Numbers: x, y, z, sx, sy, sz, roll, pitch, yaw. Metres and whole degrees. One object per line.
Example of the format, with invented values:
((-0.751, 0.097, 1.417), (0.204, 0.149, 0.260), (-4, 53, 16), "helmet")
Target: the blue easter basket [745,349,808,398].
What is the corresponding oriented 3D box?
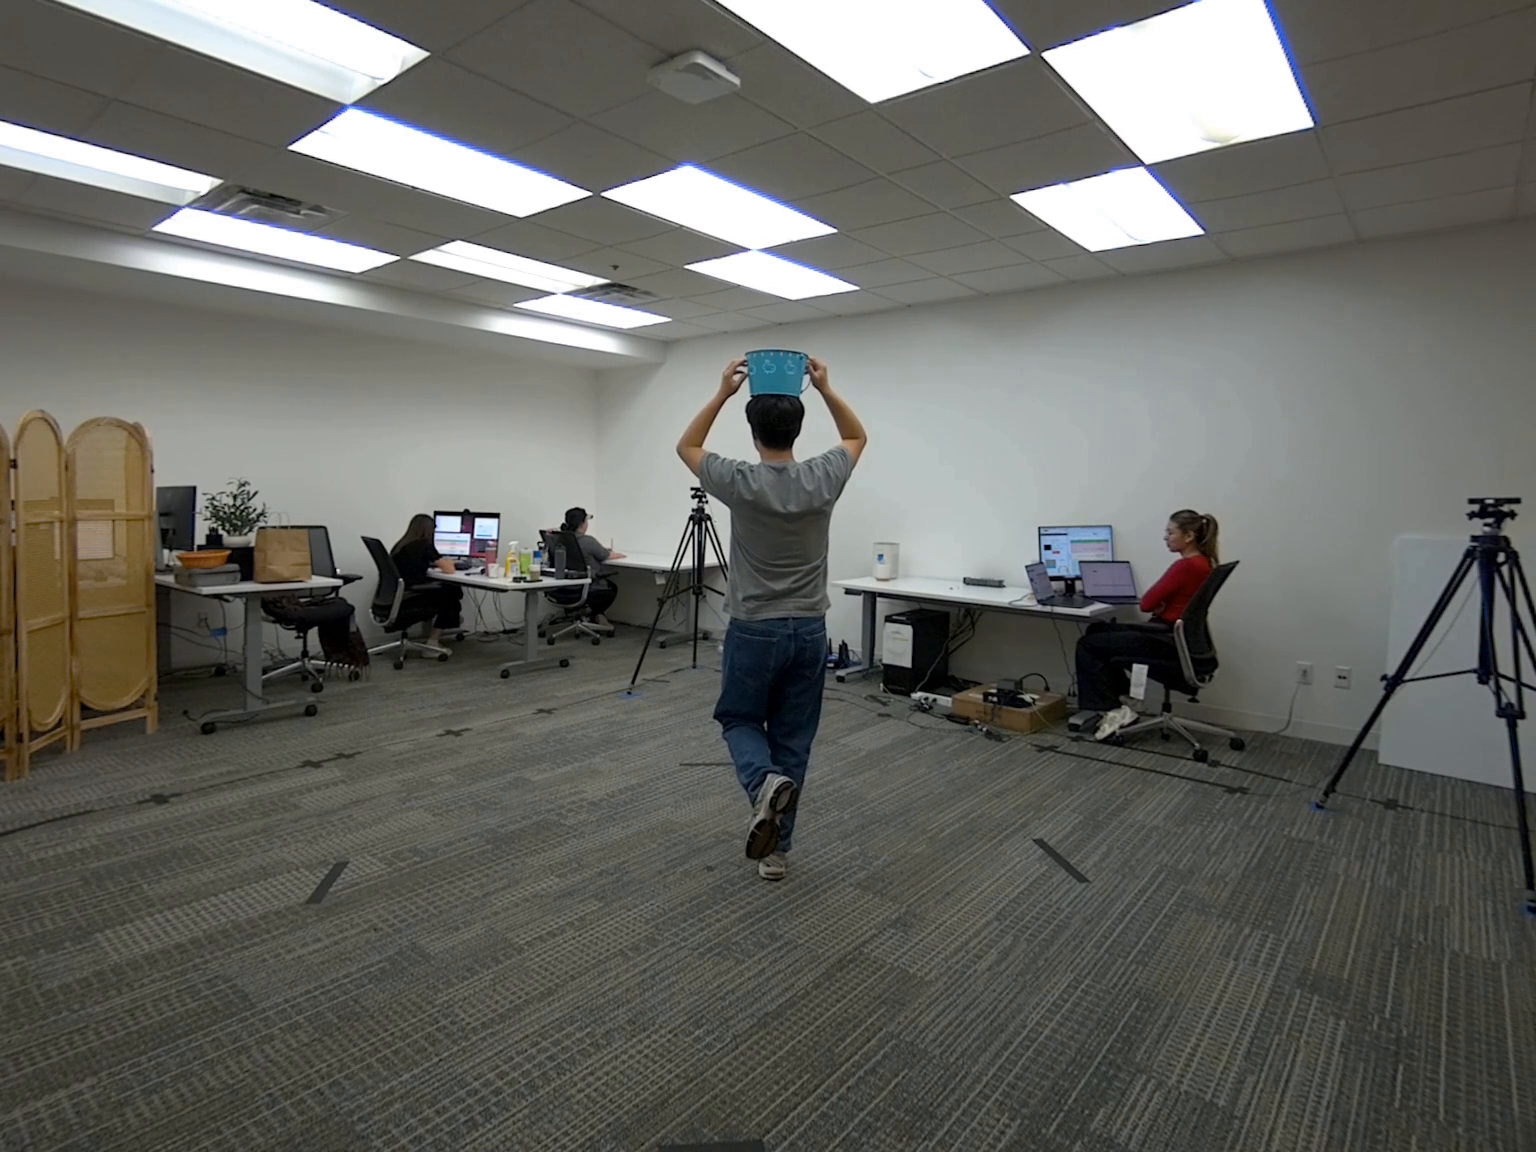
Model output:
((0.025, -0.722, 3.072), (0.243, 0.155, 0.244), (1, 3, -2), "blue easter basket")
